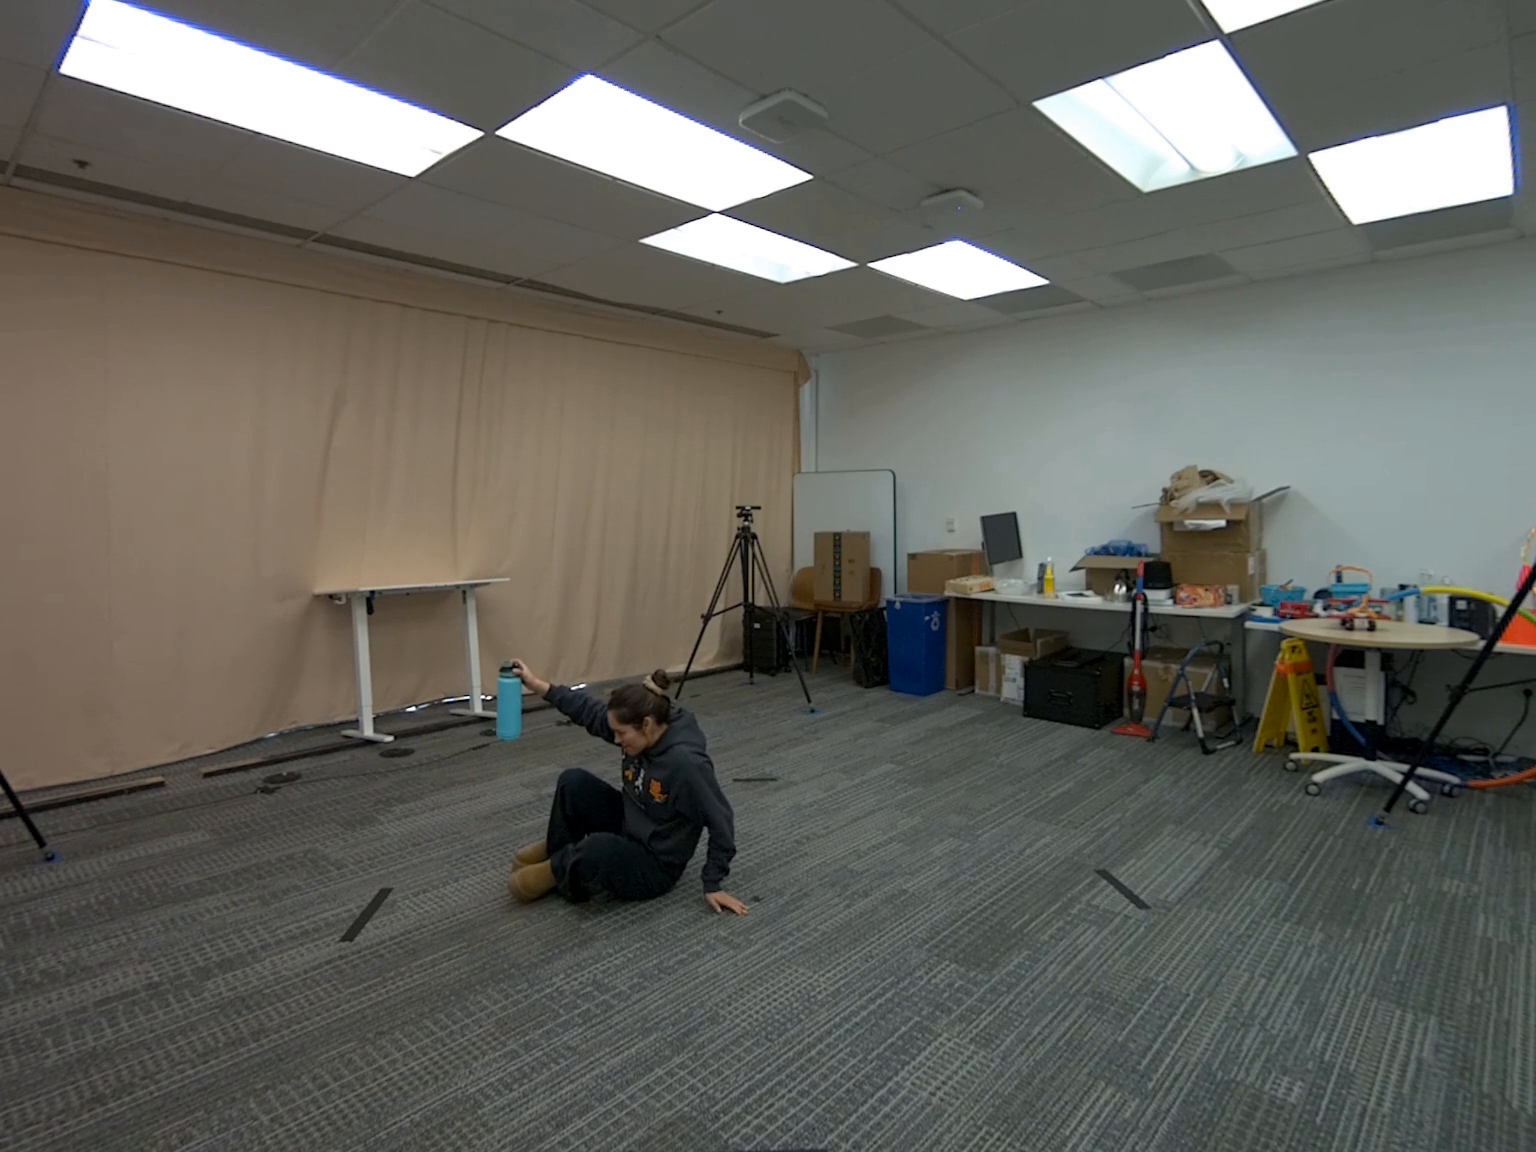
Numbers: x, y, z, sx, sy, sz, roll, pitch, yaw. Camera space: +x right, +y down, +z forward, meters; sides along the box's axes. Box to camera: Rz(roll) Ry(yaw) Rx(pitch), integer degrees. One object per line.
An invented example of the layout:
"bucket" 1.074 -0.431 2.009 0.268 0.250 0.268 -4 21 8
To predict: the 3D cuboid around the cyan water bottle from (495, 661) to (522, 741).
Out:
"cyan water bottle" -0.953 0.462 3.132 0.092 0.283 0.092 -1 3 -2
